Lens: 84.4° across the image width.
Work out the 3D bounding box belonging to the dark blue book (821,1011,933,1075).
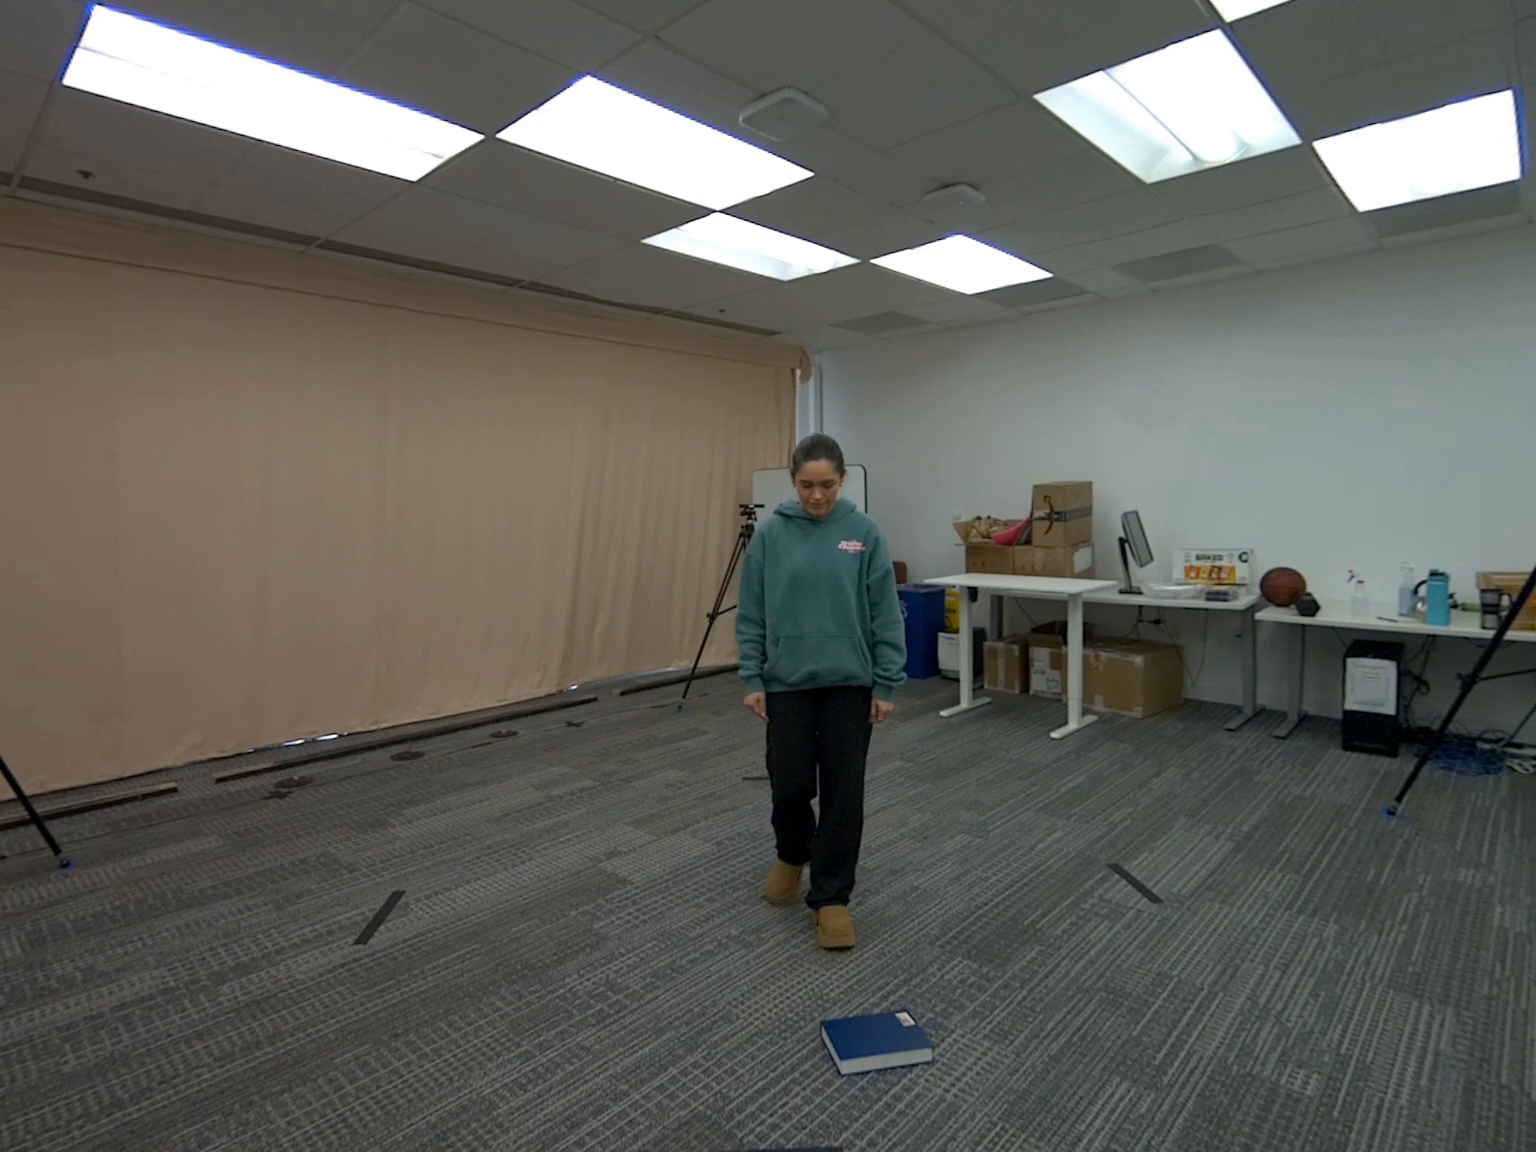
[{"bbox_3d":[0.277,1.175,2.149,0.242,0.045,0.166,-2,5,-12],"label":"dark blue book"}]
